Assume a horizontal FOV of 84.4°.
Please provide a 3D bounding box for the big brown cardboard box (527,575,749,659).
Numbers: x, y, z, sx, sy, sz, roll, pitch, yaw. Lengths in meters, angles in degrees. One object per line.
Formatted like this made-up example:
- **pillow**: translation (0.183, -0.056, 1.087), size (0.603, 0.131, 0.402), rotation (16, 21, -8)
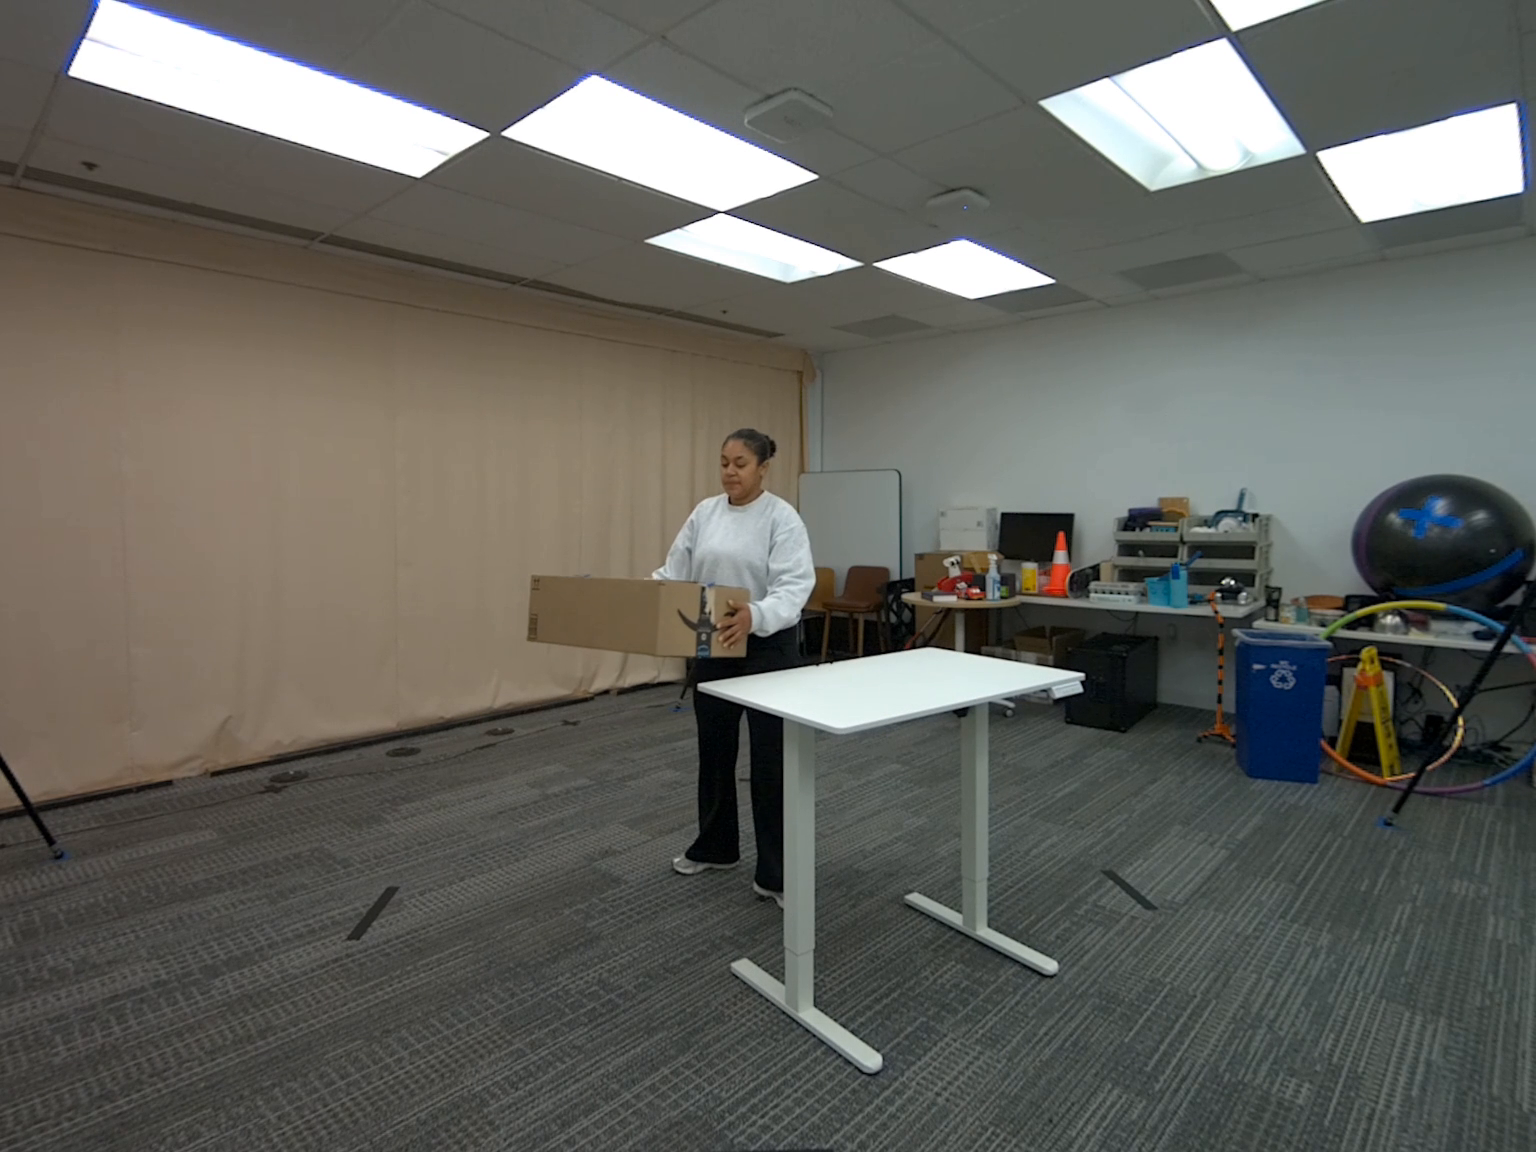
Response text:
- **big brown cardboard box**: translation (-0.413, 0.125, 2.668), size (0.608, 0.233, 0.404), rotation (3, -2, 37)
